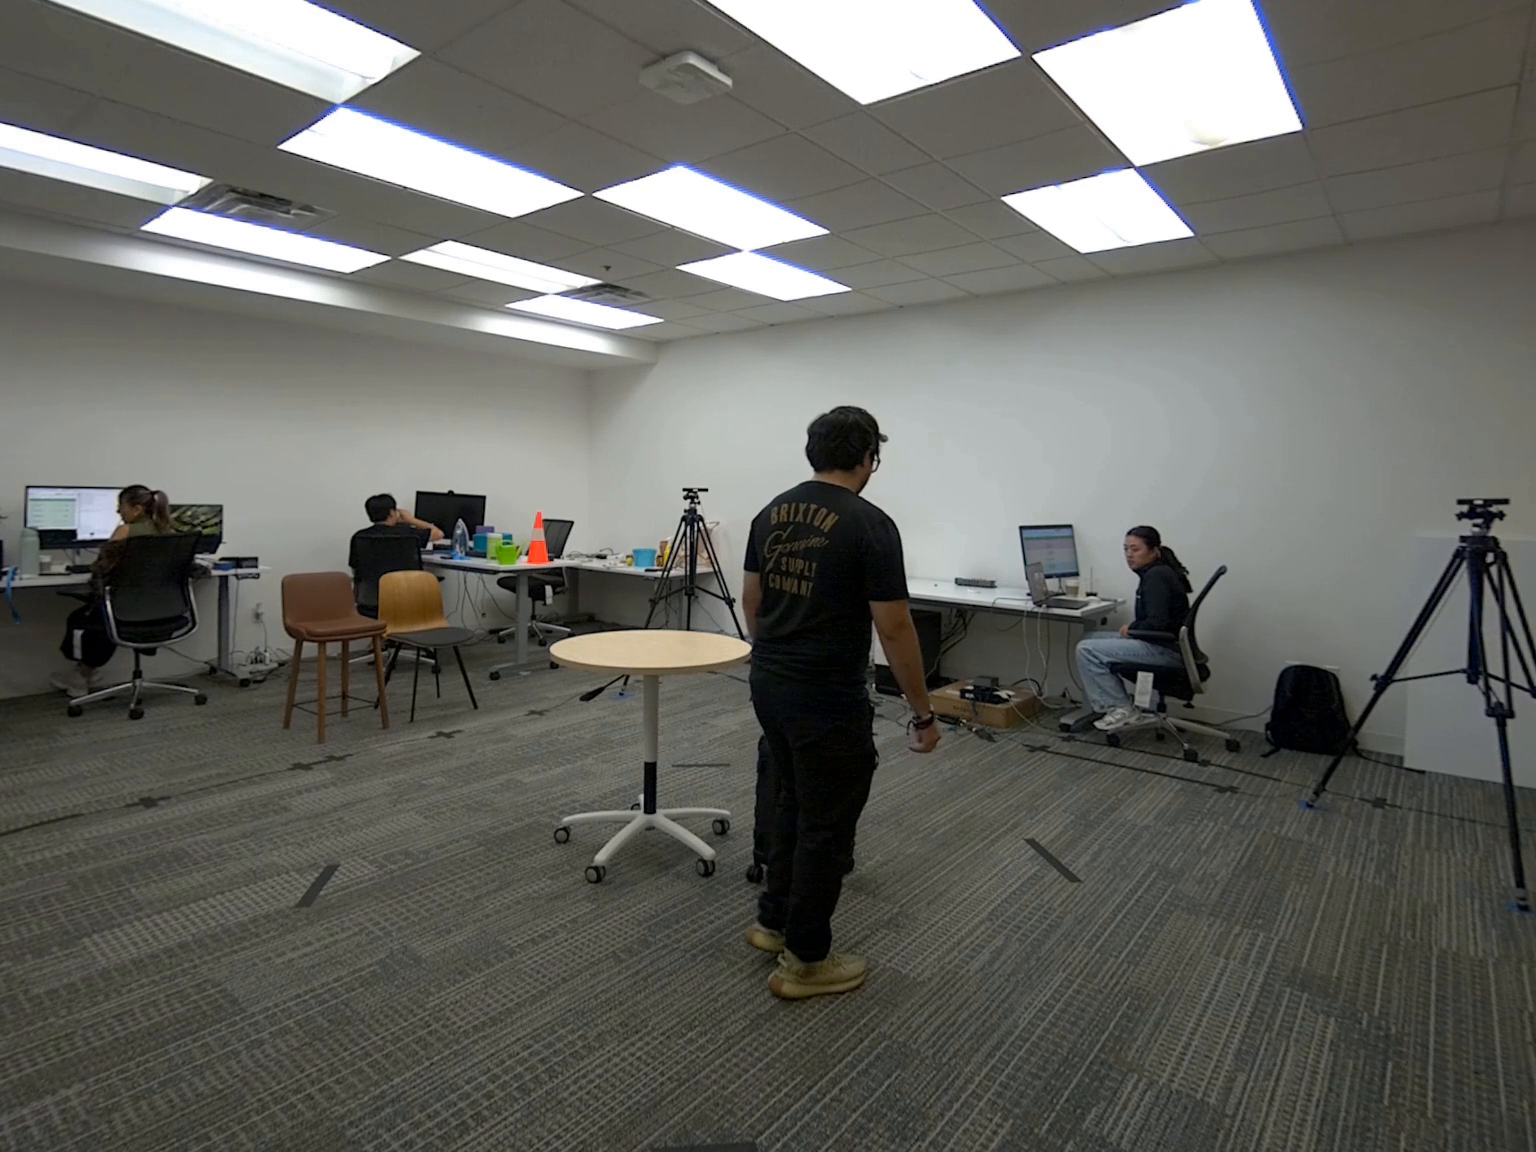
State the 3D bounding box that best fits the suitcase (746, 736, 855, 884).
[{"bbox_3d":[0.142,0.594,3.065,0.265,0.976,0.373,5,3,33],"label":"suitcase"}]
